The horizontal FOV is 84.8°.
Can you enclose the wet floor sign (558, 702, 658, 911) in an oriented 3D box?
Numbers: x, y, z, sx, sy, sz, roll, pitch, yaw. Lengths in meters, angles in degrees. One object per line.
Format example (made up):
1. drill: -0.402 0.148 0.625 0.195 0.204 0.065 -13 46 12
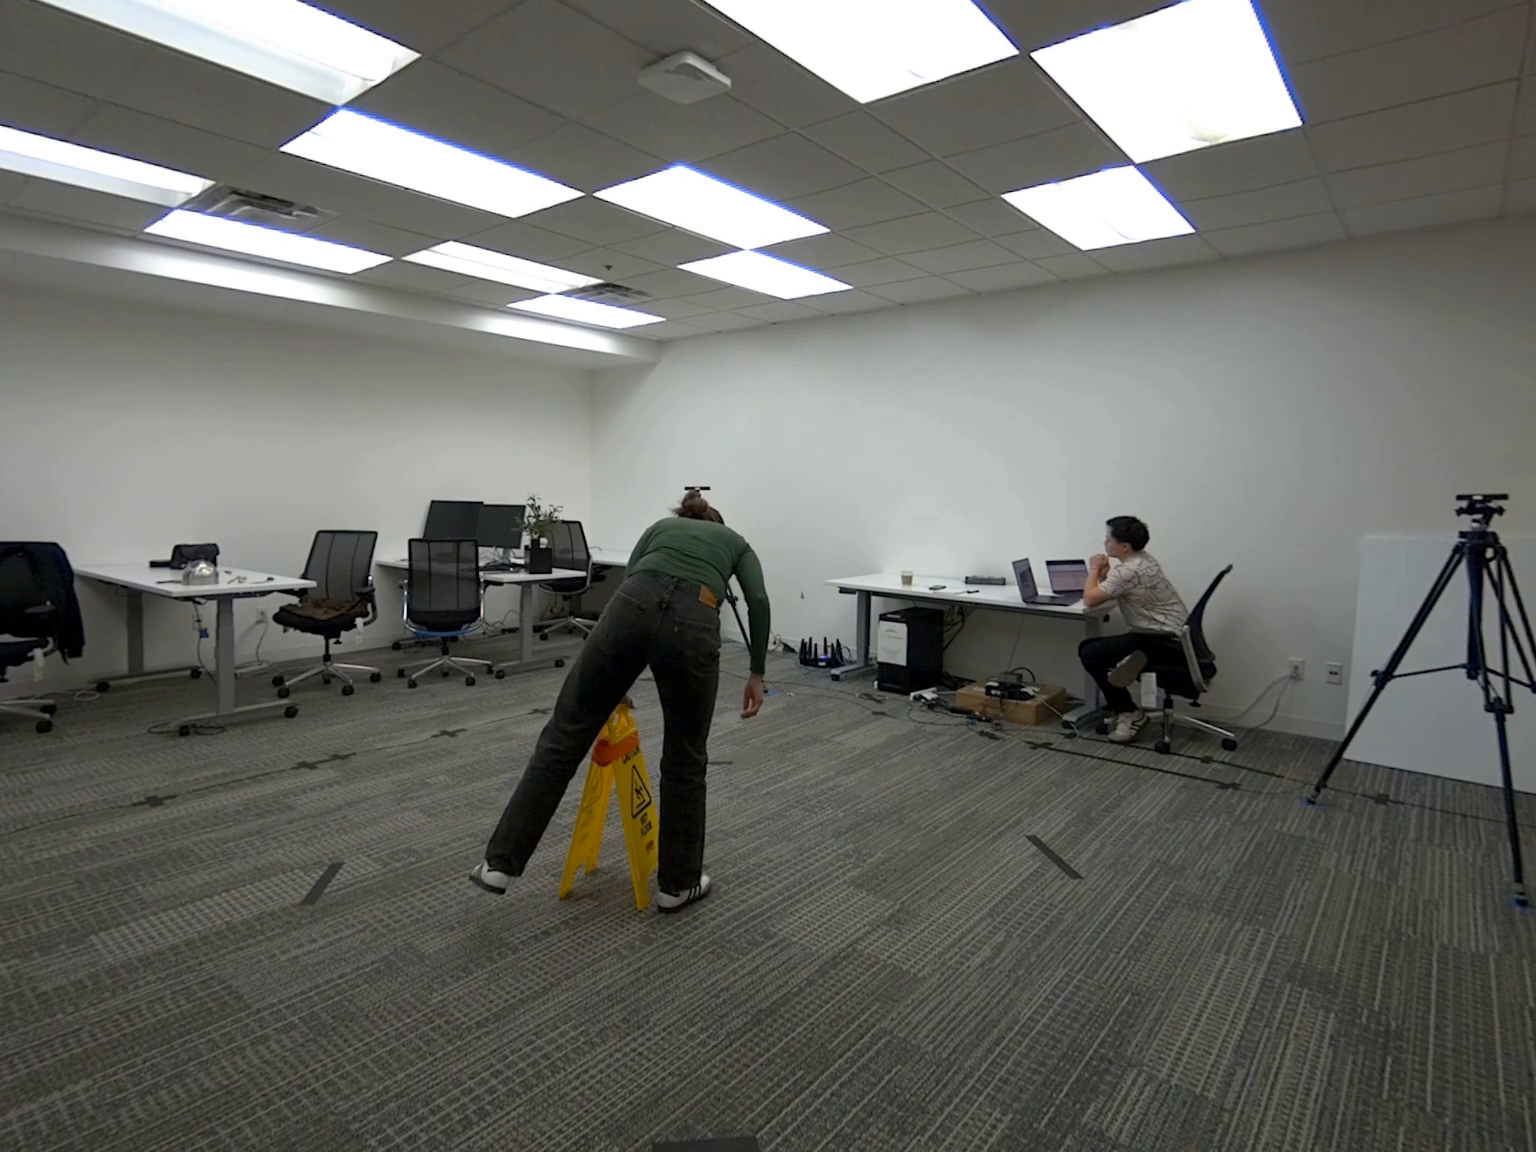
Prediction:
1. wet floor sign: -0.532 0.754 2.932 0.295 0.644 0.278 2 3 15
